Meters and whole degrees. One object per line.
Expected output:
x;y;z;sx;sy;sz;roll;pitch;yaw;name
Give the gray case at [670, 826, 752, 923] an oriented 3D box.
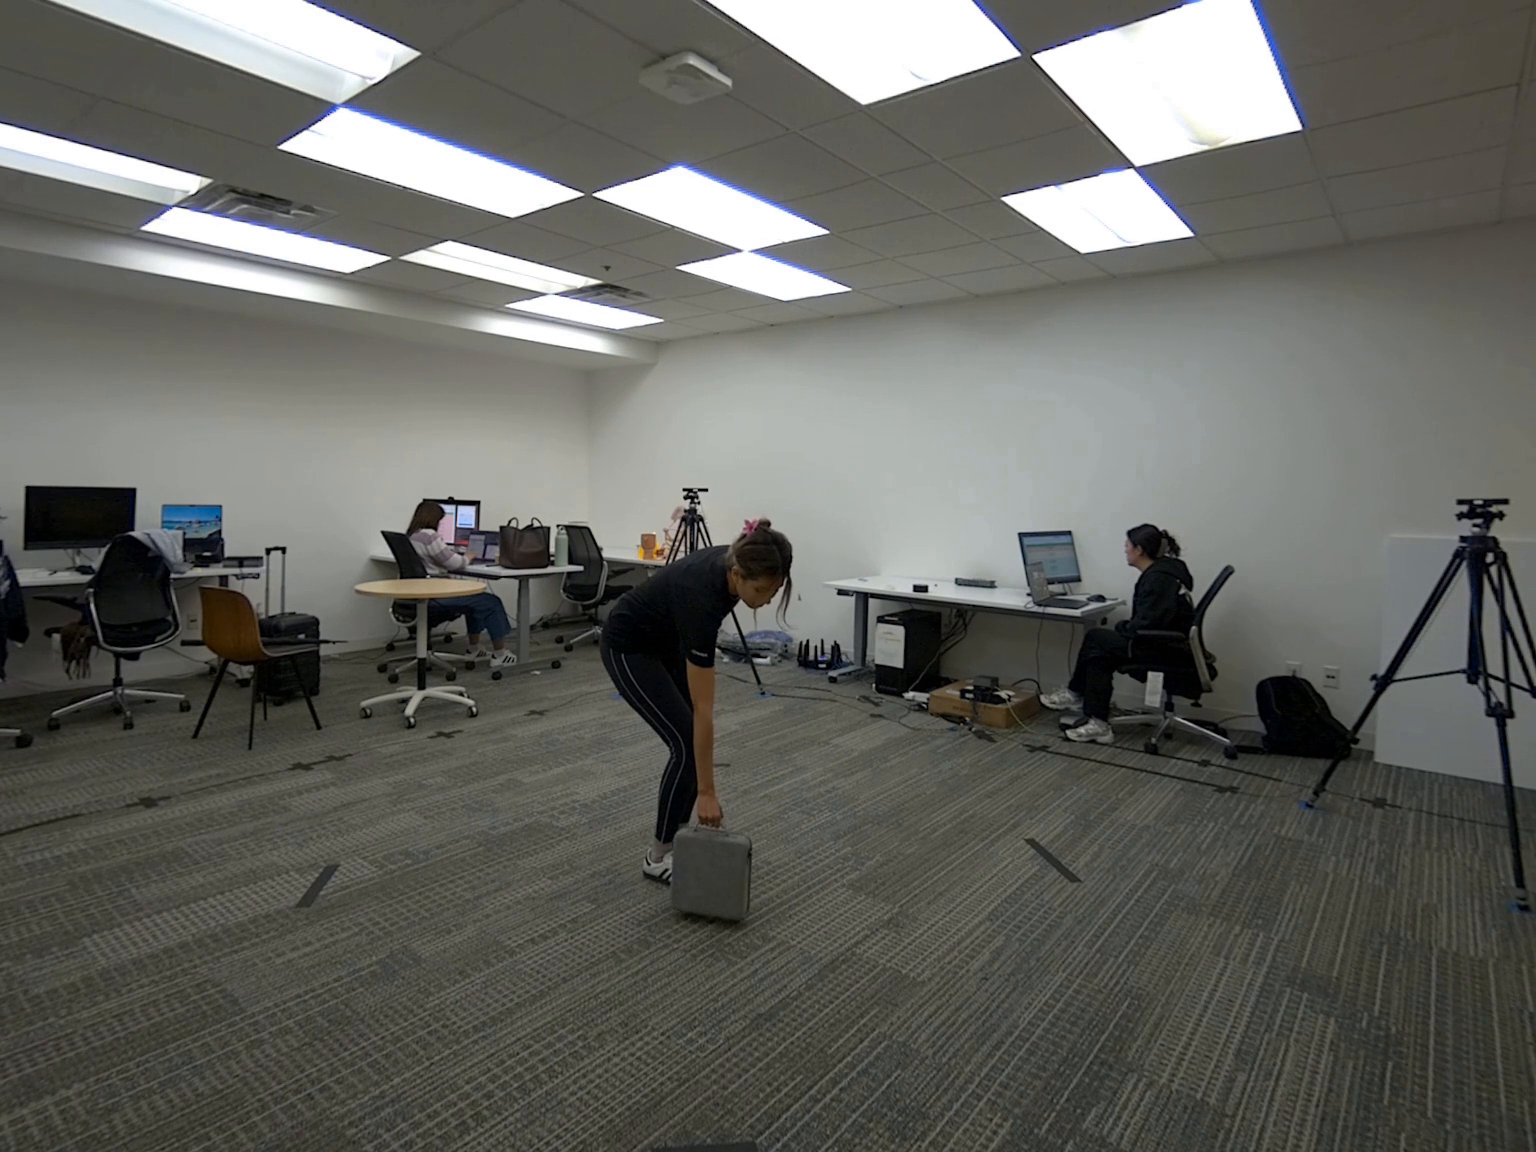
-0.189;0.949;2.755;0.261;0.261;0.102;1;-4;14;gray case
